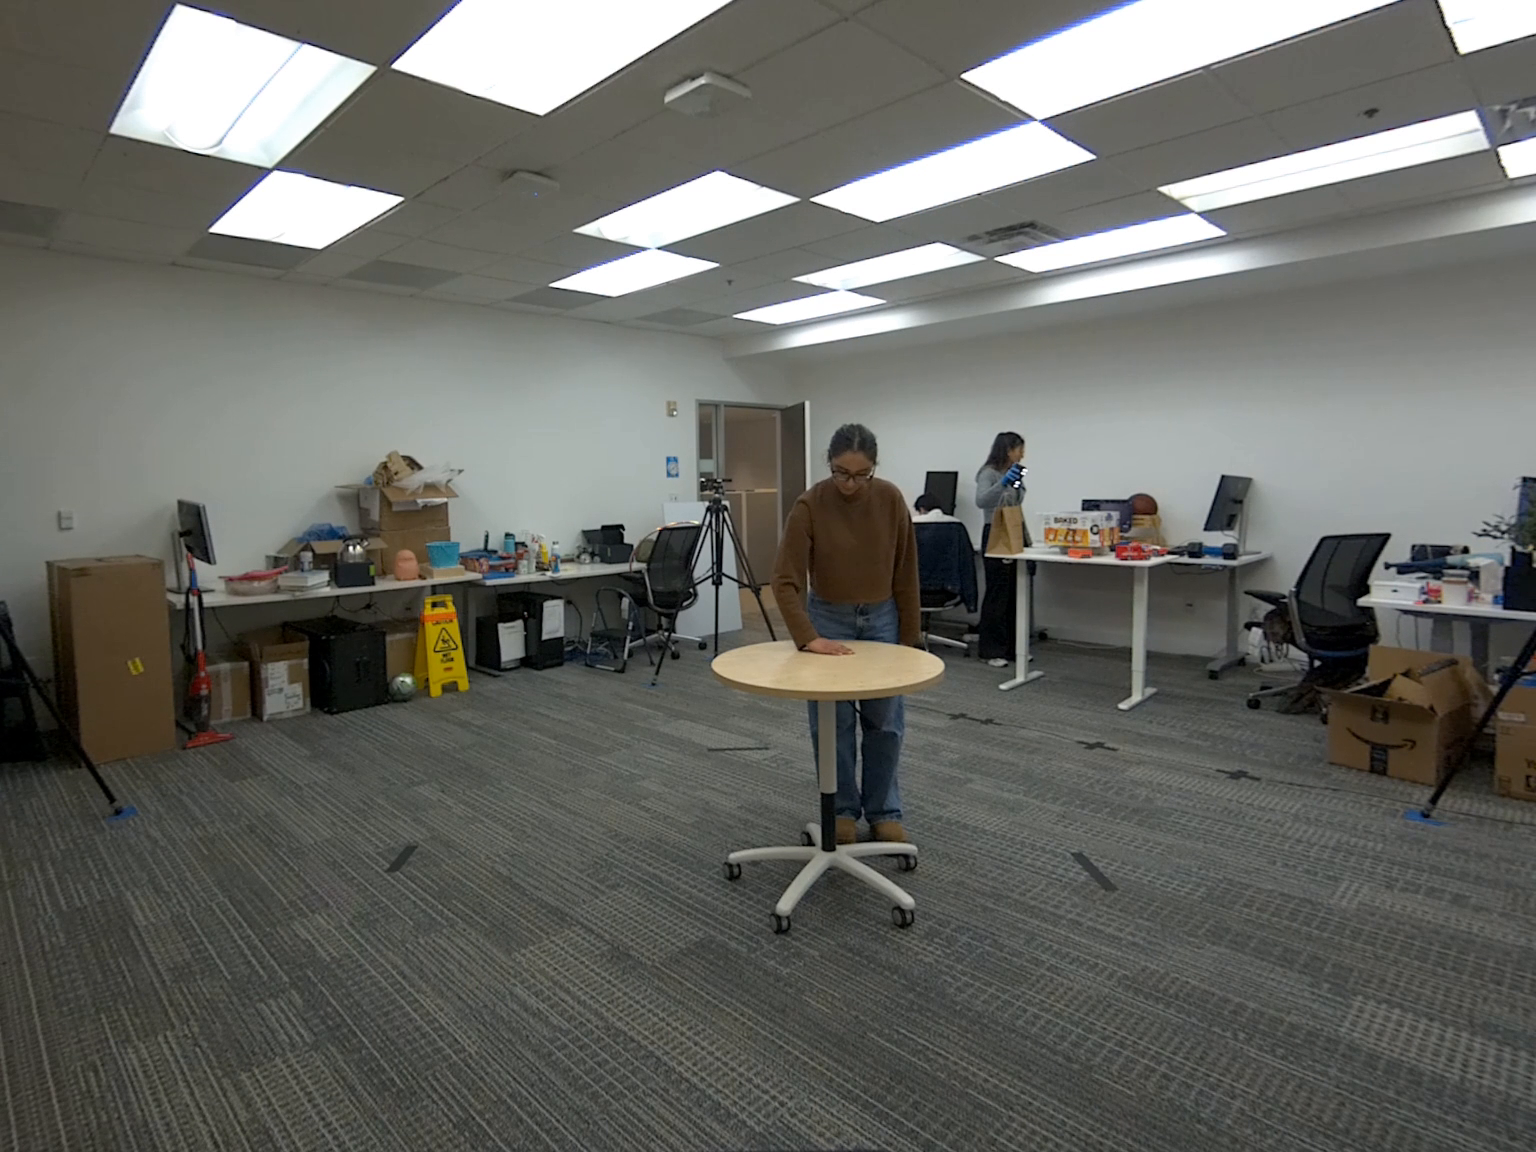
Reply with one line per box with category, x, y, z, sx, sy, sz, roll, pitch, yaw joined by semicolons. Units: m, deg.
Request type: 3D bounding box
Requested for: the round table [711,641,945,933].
round table;0.204;0.681;2.871;0.763;0.791;0.768;-1;5;-2
